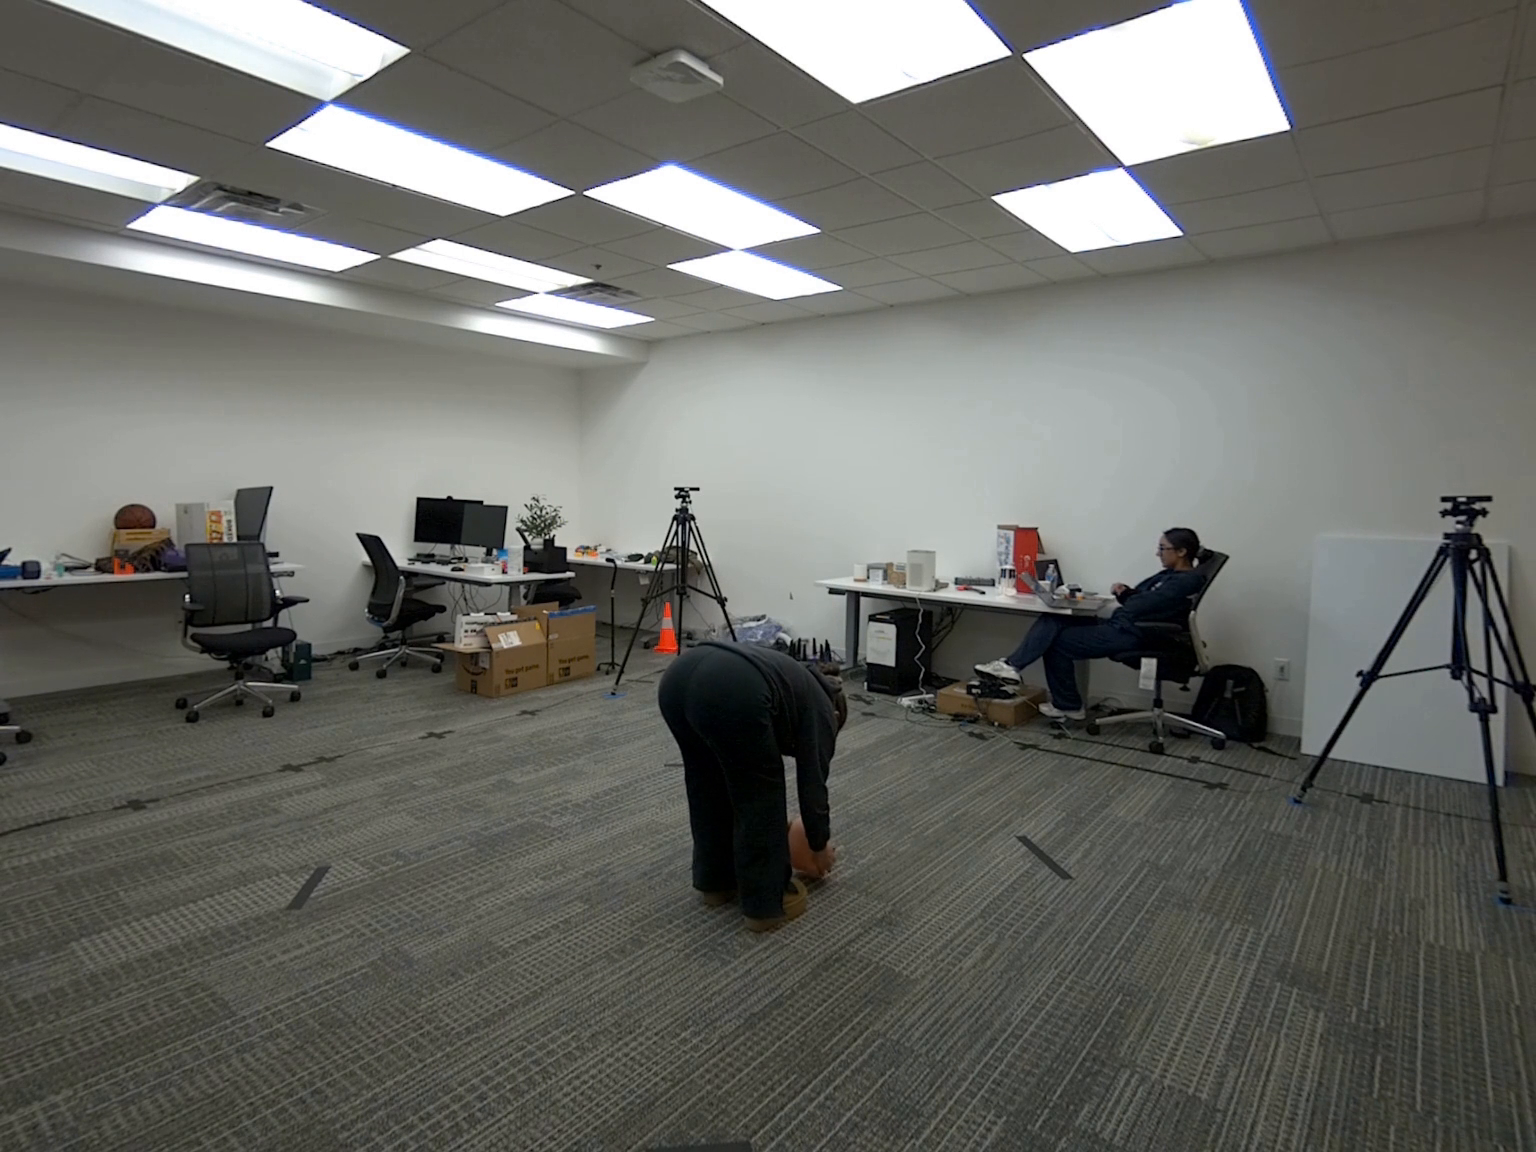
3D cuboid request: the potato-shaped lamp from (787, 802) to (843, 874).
[{"bbox_3d":[0.141,0.947,3.049,0.170,0.200,0.164,1,-22,34],"label":"potato-shaped lamp"}]
